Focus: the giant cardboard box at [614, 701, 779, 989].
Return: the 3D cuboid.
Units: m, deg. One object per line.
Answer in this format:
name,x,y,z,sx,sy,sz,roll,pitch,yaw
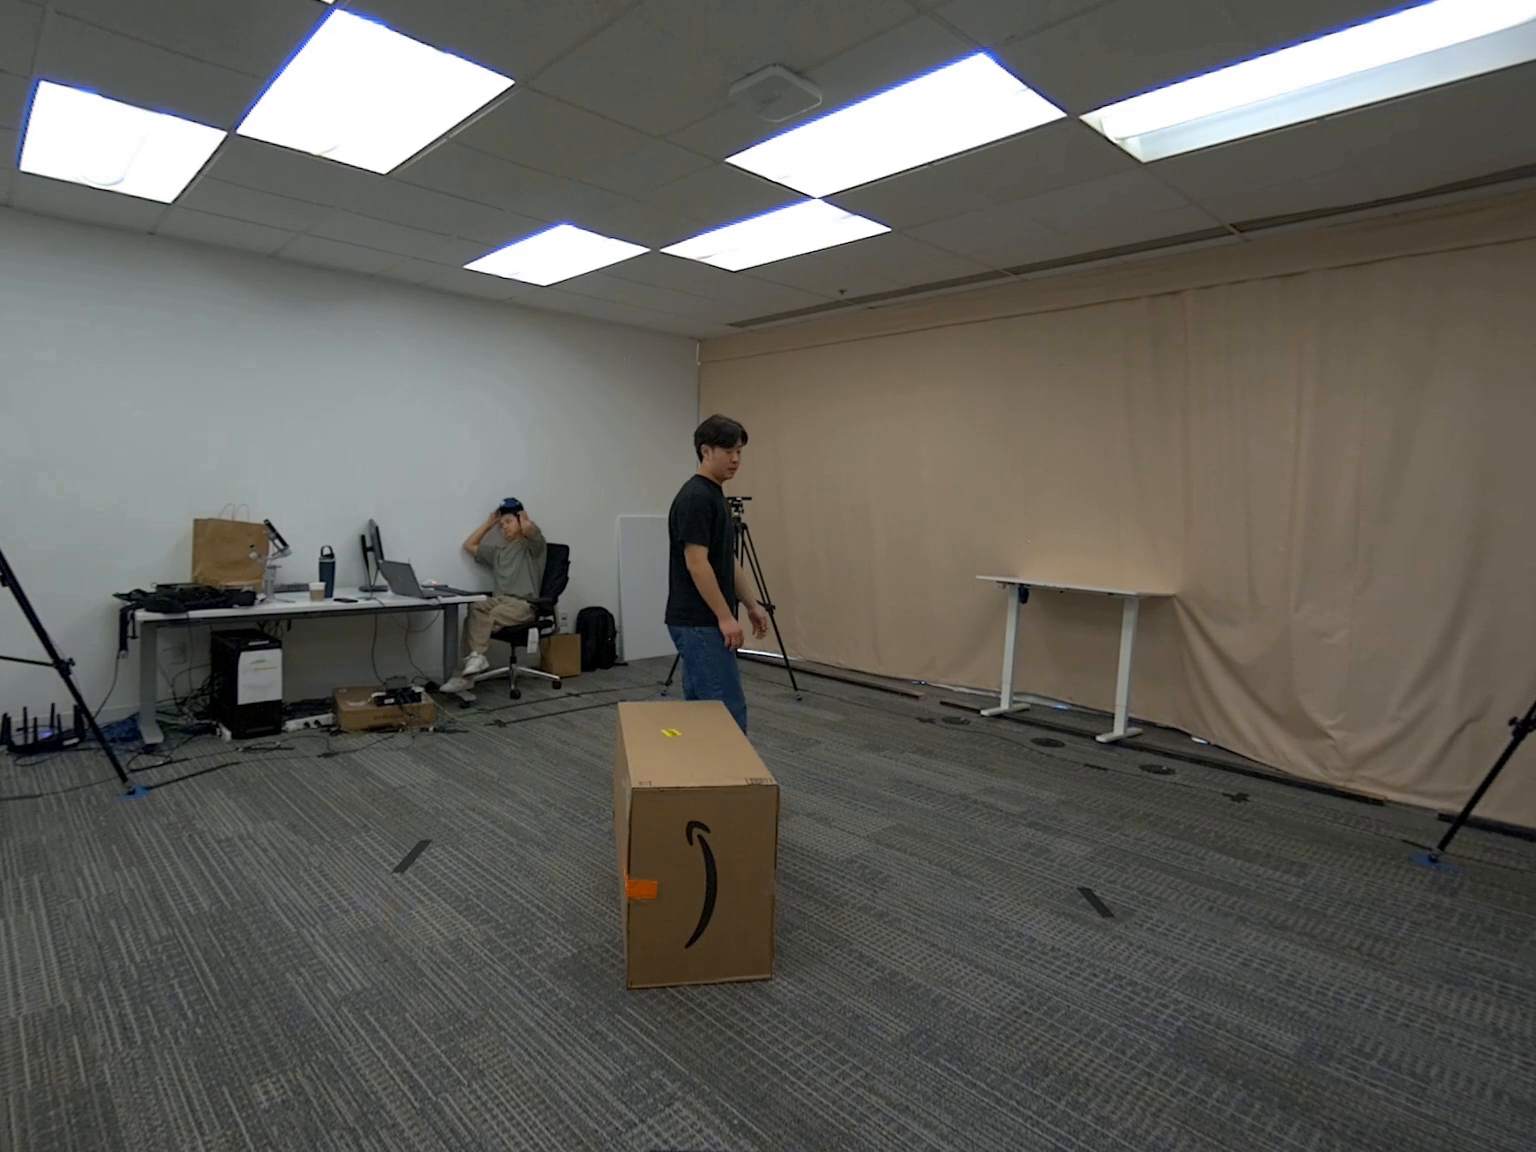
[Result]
giant cardboard box,-0.302,0.836,2.889,0.443,0.582,1.039,0,4,-12
